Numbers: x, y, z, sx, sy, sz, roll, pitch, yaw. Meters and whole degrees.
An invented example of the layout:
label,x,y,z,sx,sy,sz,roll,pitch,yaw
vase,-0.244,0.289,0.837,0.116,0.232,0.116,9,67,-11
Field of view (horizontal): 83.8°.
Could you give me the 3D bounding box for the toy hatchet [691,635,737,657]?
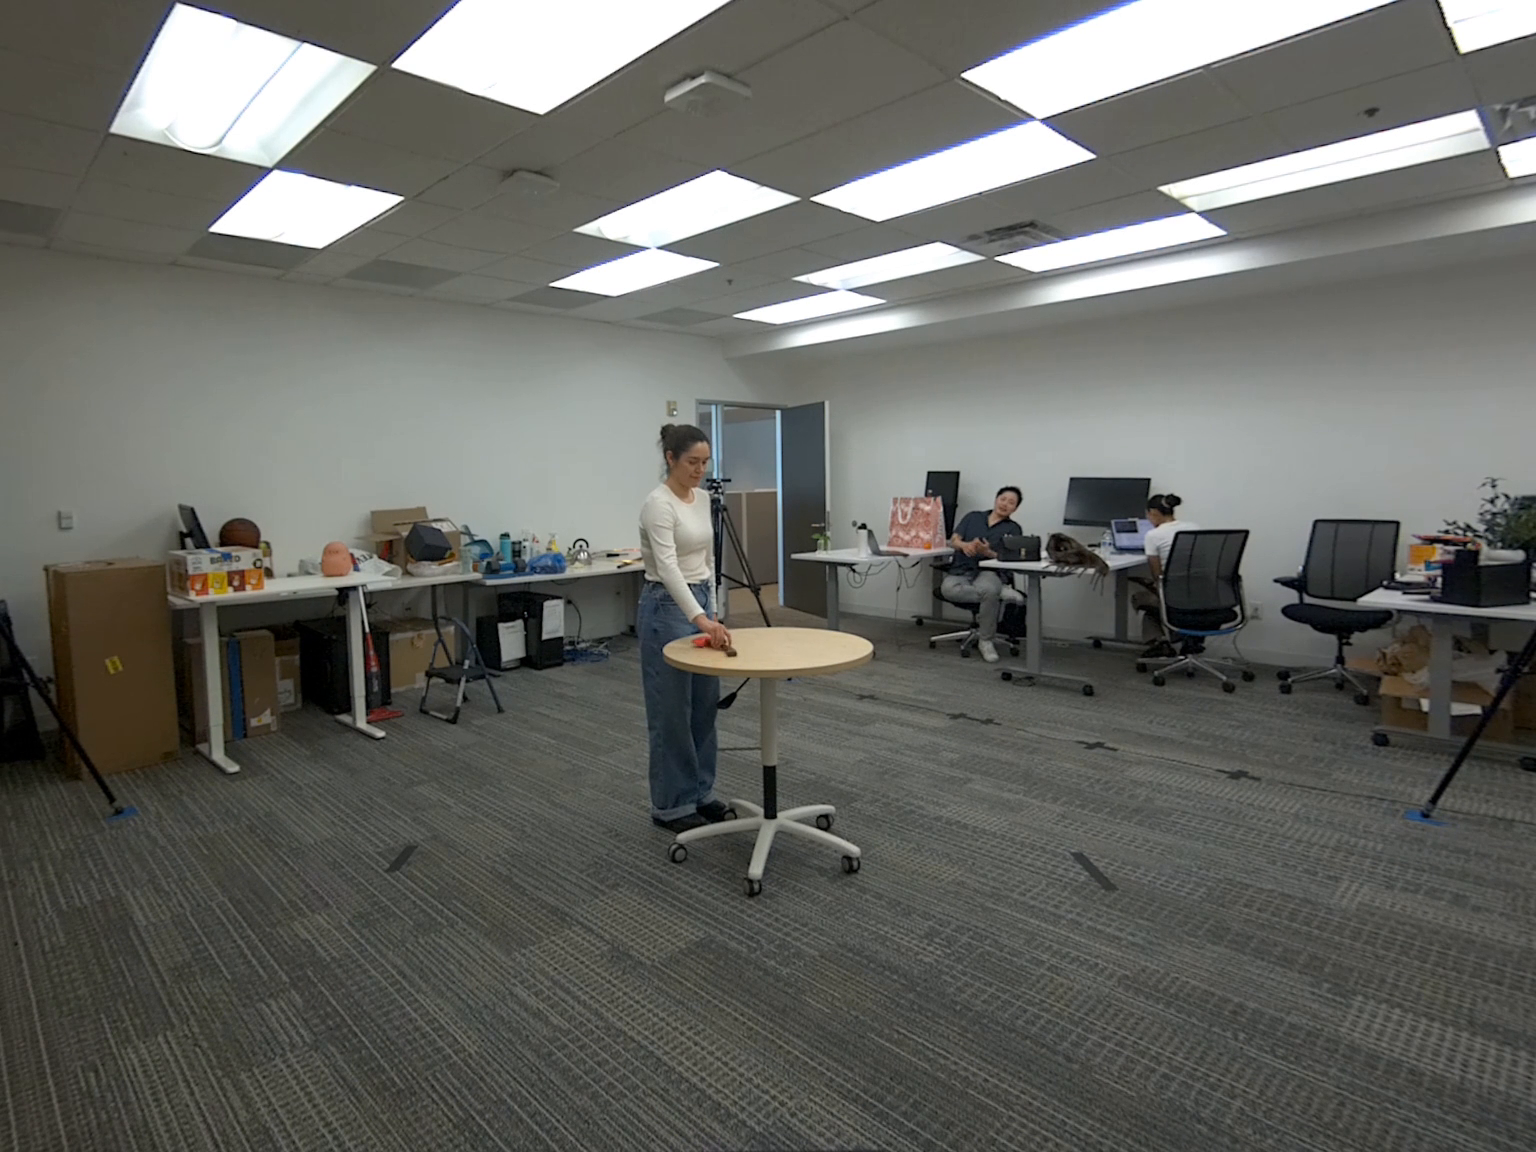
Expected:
label,x,y,z,sx,sy,sz,roll,pitch,yaw
toy hatchet,-0.199,0.258,3.080,0.129,0.029,0.274,3,6,-13
